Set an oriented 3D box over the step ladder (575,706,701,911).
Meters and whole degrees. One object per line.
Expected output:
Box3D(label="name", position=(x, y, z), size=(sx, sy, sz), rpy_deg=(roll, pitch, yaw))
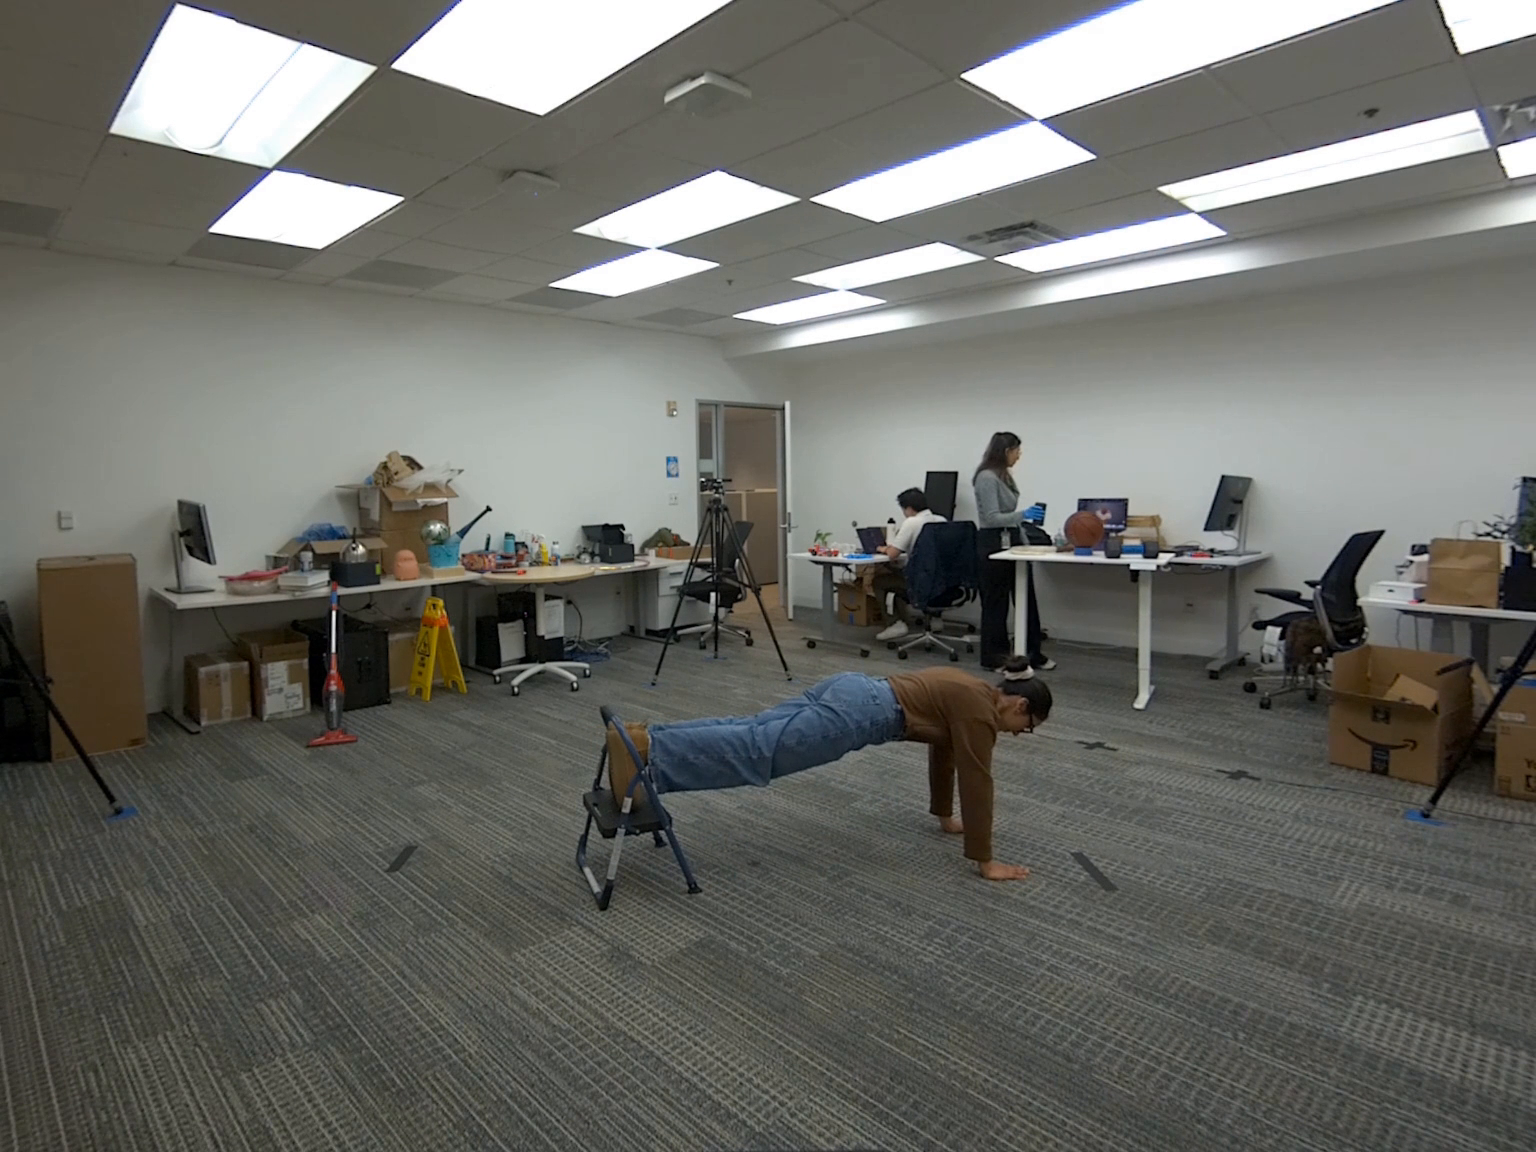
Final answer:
Box3D(label="step ladder", position=(-0.472, 0.762, 3.009), size=(0.342, 0.604, 0.441), rpy_deg=(-3, 5, -24))
